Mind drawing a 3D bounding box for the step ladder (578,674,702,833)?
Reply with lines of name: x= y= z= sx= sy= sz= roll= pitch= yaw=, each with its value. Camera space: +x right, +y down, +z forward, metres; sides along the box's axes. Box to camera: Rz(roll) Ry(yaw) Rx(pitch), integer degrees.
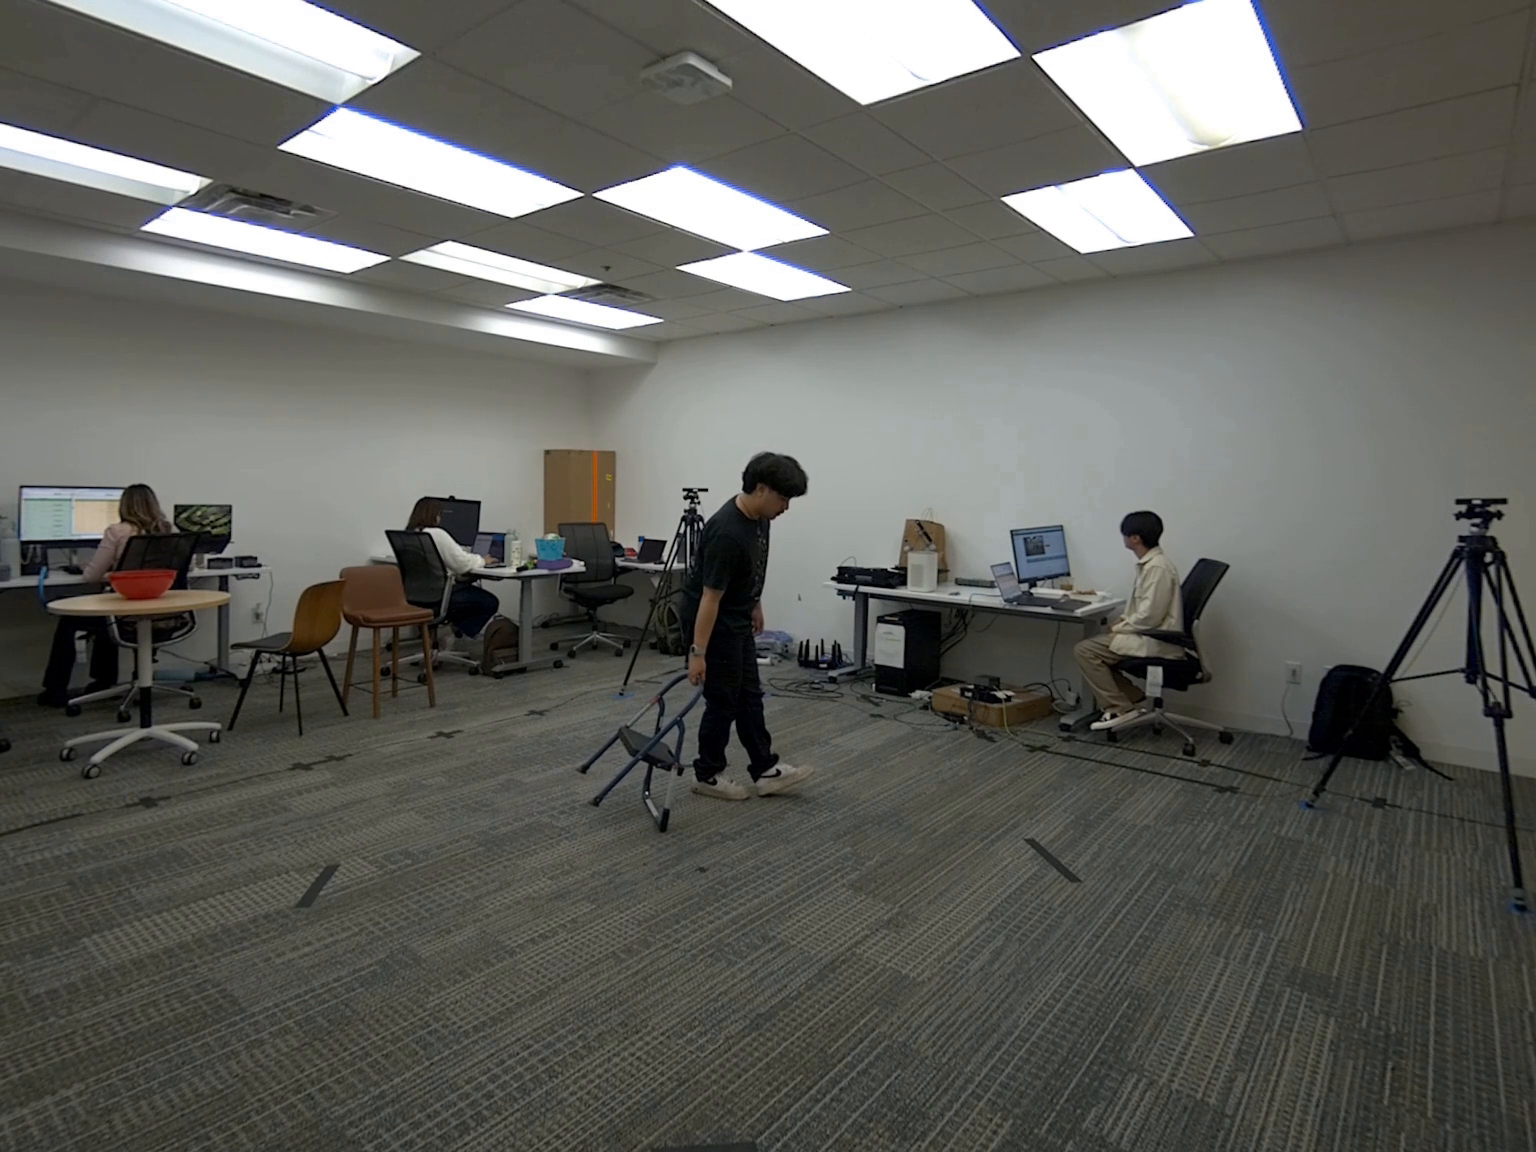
step ladder: x=-0.506 y=0.677 z=3.615 sx=0.341 sy=0.607 sz=0.440 roll=27 pitch=-4 yaw=-18
